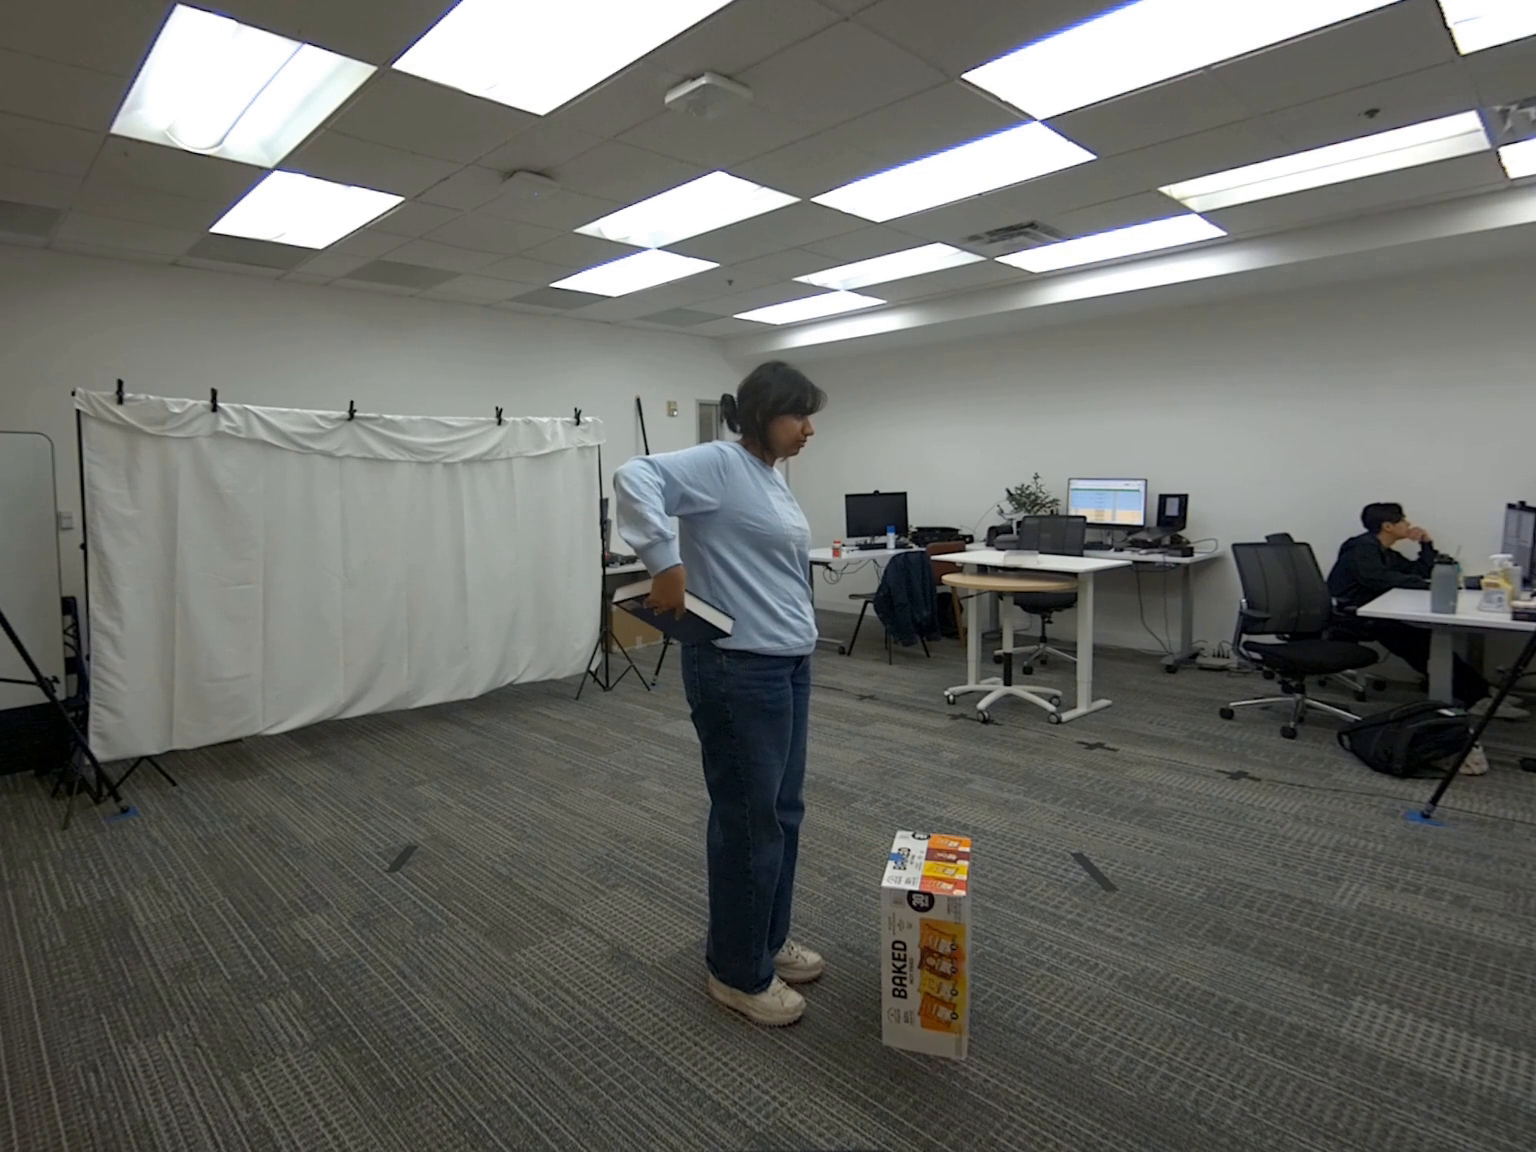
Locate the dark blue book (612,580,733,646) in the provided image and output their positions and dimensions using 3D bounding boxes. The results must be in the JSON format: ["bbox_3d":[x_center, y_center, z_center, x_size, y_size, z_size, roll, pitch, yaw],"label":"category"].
[{"bbox_3d":[-0.207,0.085,1.980,0.167,0.046,0.236,-15,-37,44],"label":"dark blue book"}]
